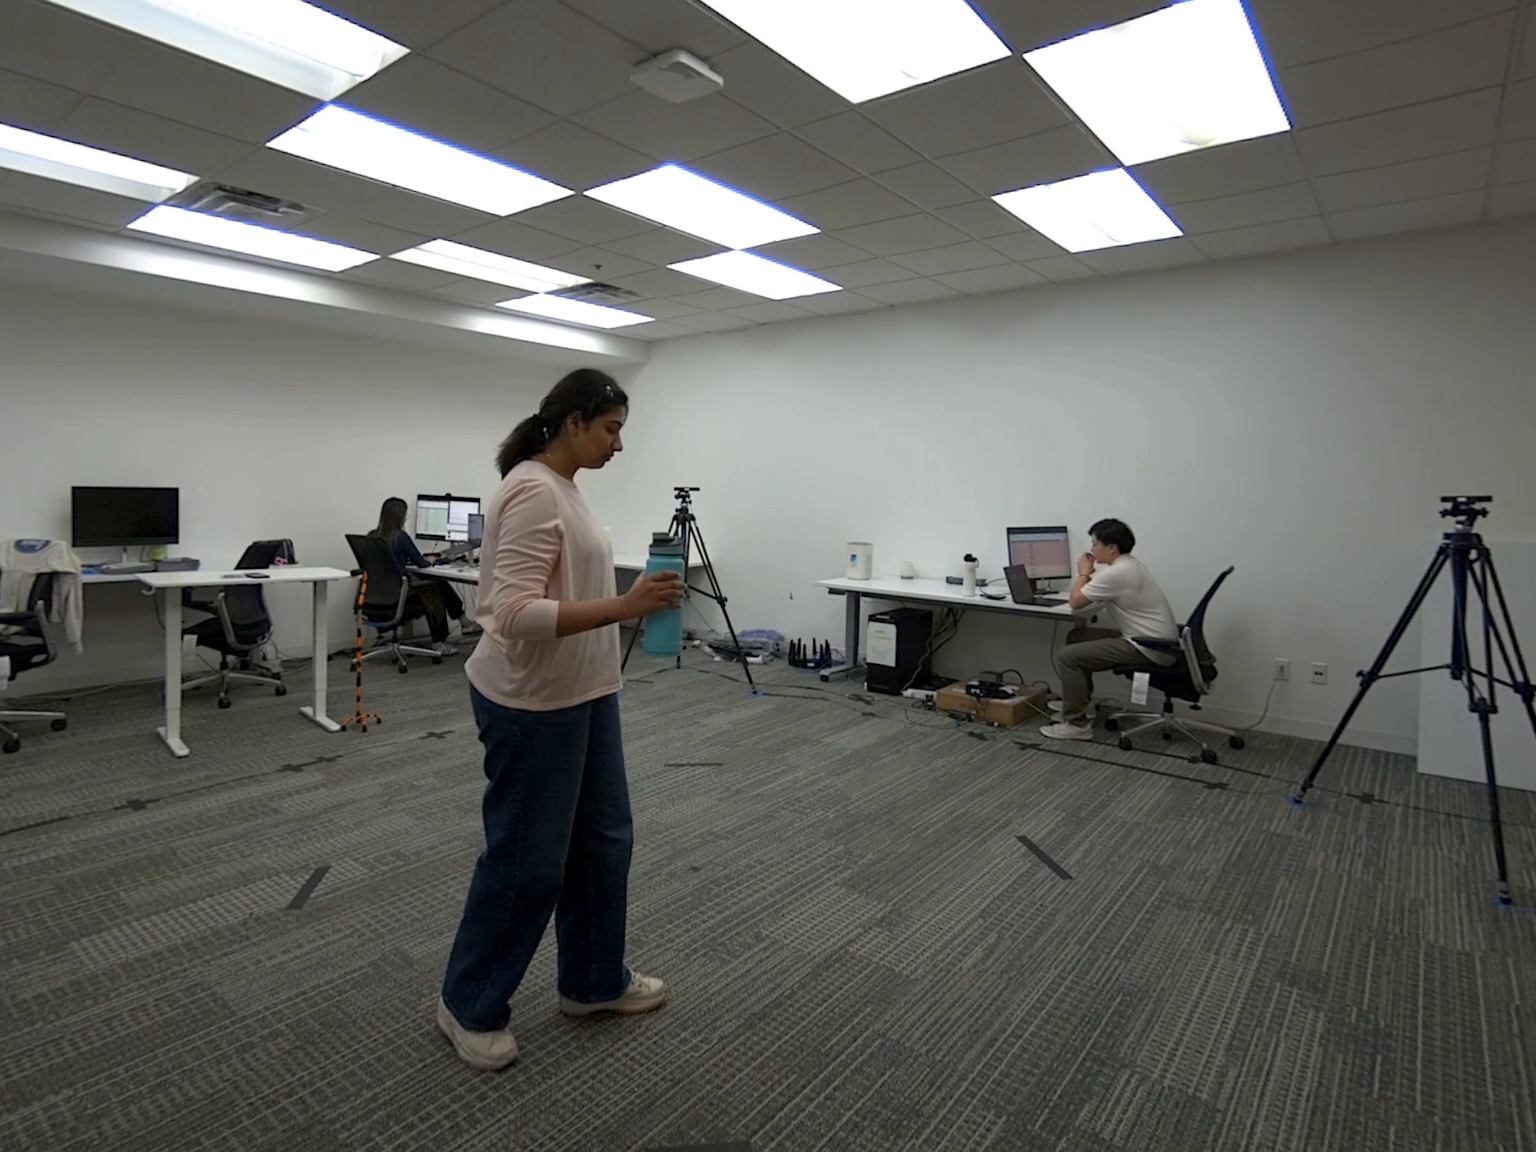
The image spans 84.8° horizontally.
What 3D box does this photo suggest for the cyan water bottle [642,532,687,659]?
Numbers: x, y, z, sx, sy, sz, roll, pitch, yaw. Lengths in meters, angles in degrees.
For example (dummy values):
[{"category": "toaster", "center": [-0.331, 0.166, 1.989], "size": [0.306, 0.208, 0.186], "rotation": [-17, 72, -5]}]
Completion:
[{"category": "cyan water bottle", "center": [-0.249, 0.041, 1.962], "size": [0.092, 0.283, 0.092], "rotation": [3, -1, -2]}]
